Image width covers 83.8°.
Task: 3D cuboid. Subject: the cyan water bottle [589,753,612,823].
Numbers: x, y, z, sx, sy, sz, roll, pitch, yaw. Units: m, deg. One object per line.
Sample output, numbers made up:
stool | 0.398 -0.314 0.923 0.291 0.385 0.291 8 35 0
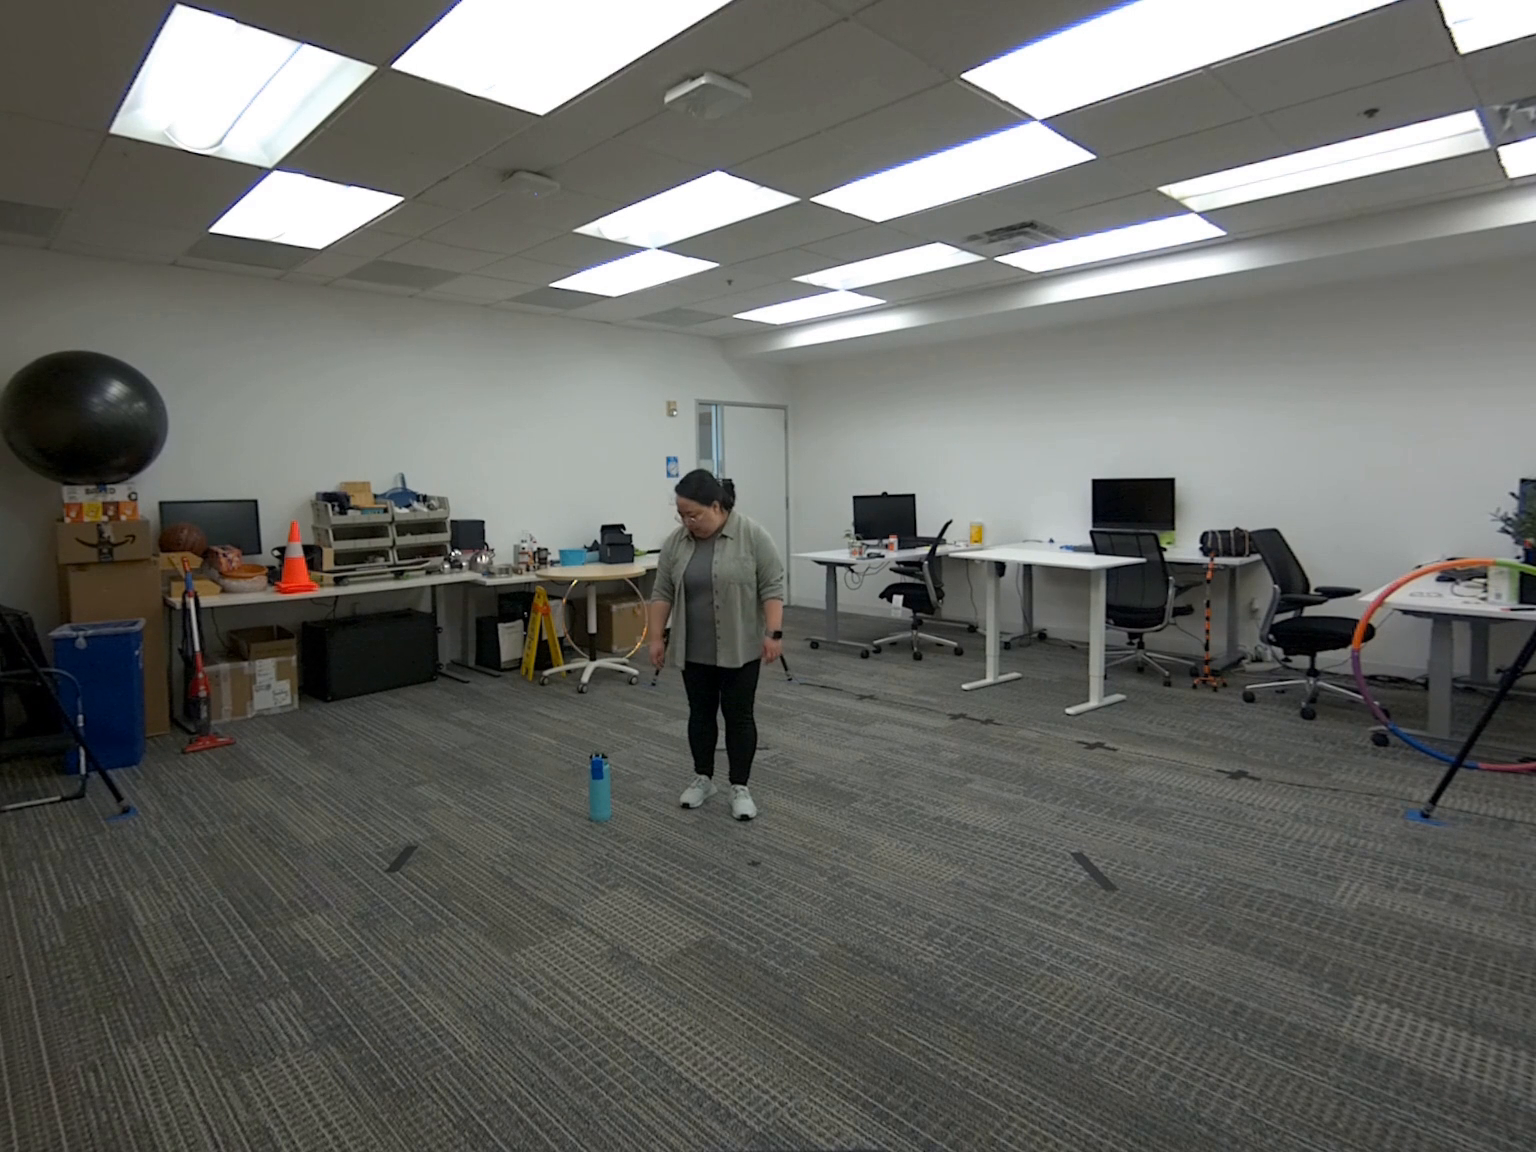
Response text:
cyan water bottle | -0.699 0.869 3.557 0.092 0.282 0.093 -2 3 -2
